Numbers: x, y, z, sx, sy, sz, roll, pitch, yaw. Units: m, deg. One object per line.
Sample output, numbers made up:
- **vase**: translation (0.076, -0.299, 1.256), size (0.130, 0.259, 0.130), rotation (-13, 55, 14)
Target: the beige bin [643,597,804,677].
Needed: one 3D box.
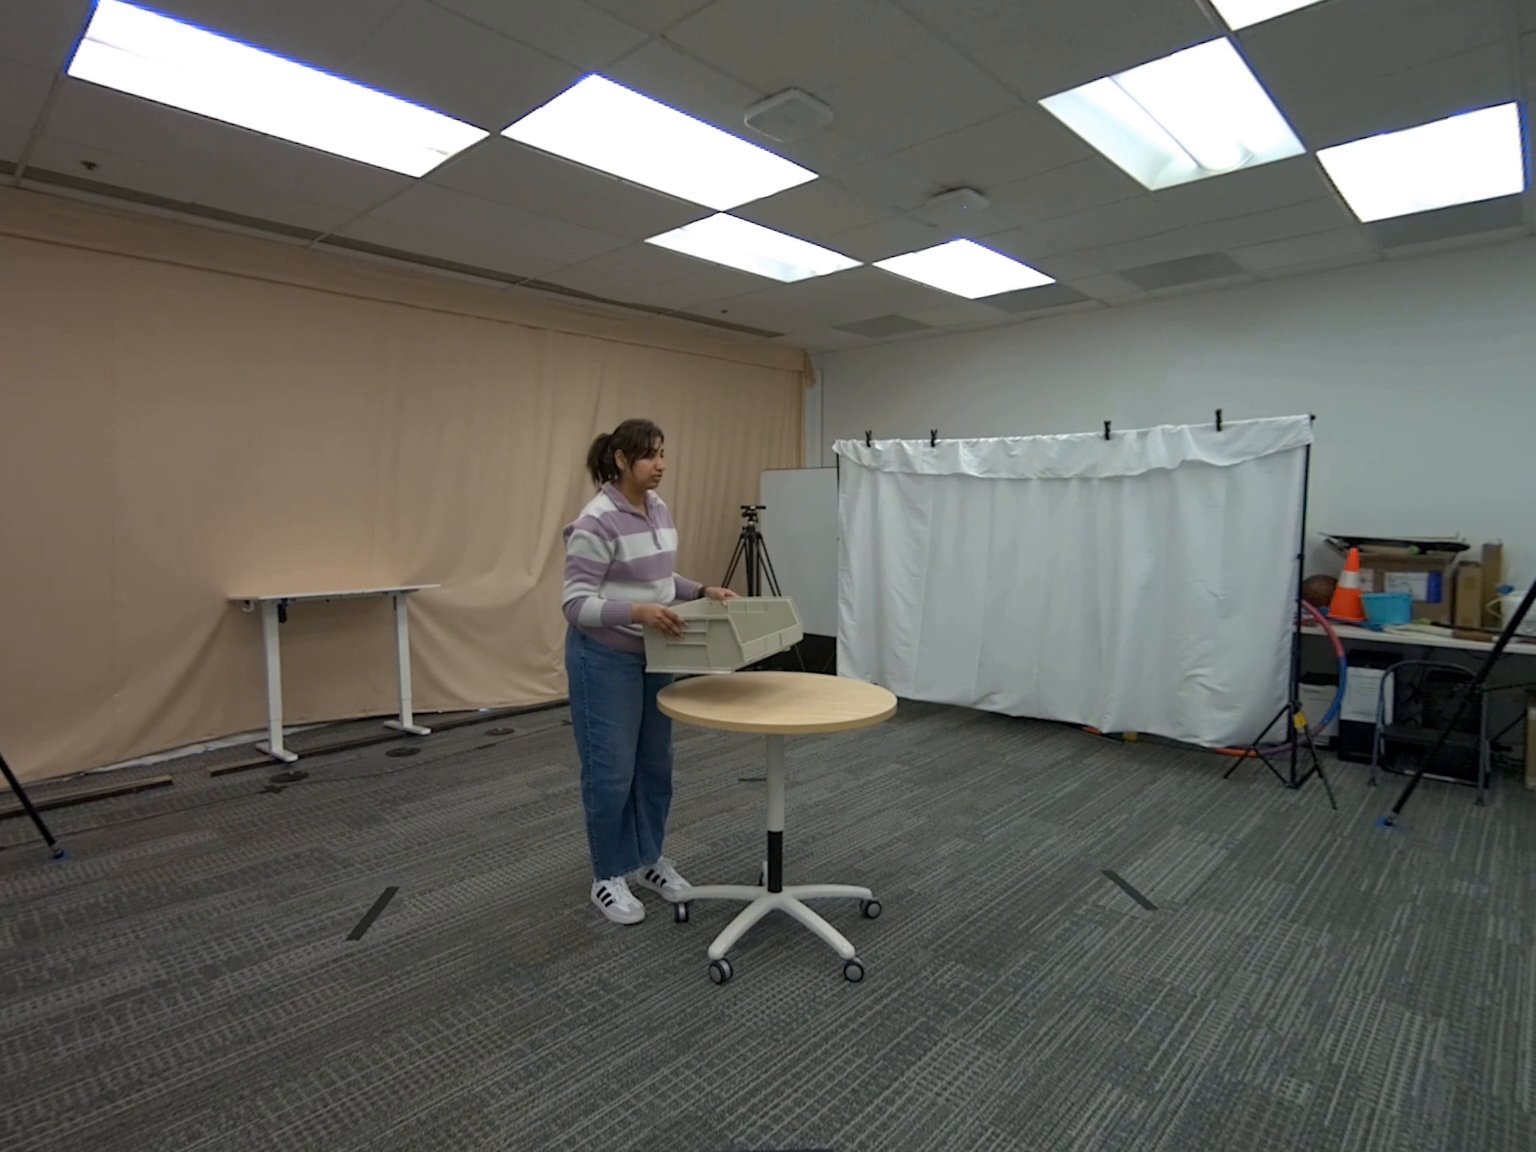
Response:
- **beige bin**: translation (-0.138, 0.187, 2.739), size (0.387, 0.188, 0.412), rotation (-3, 5, 29)
